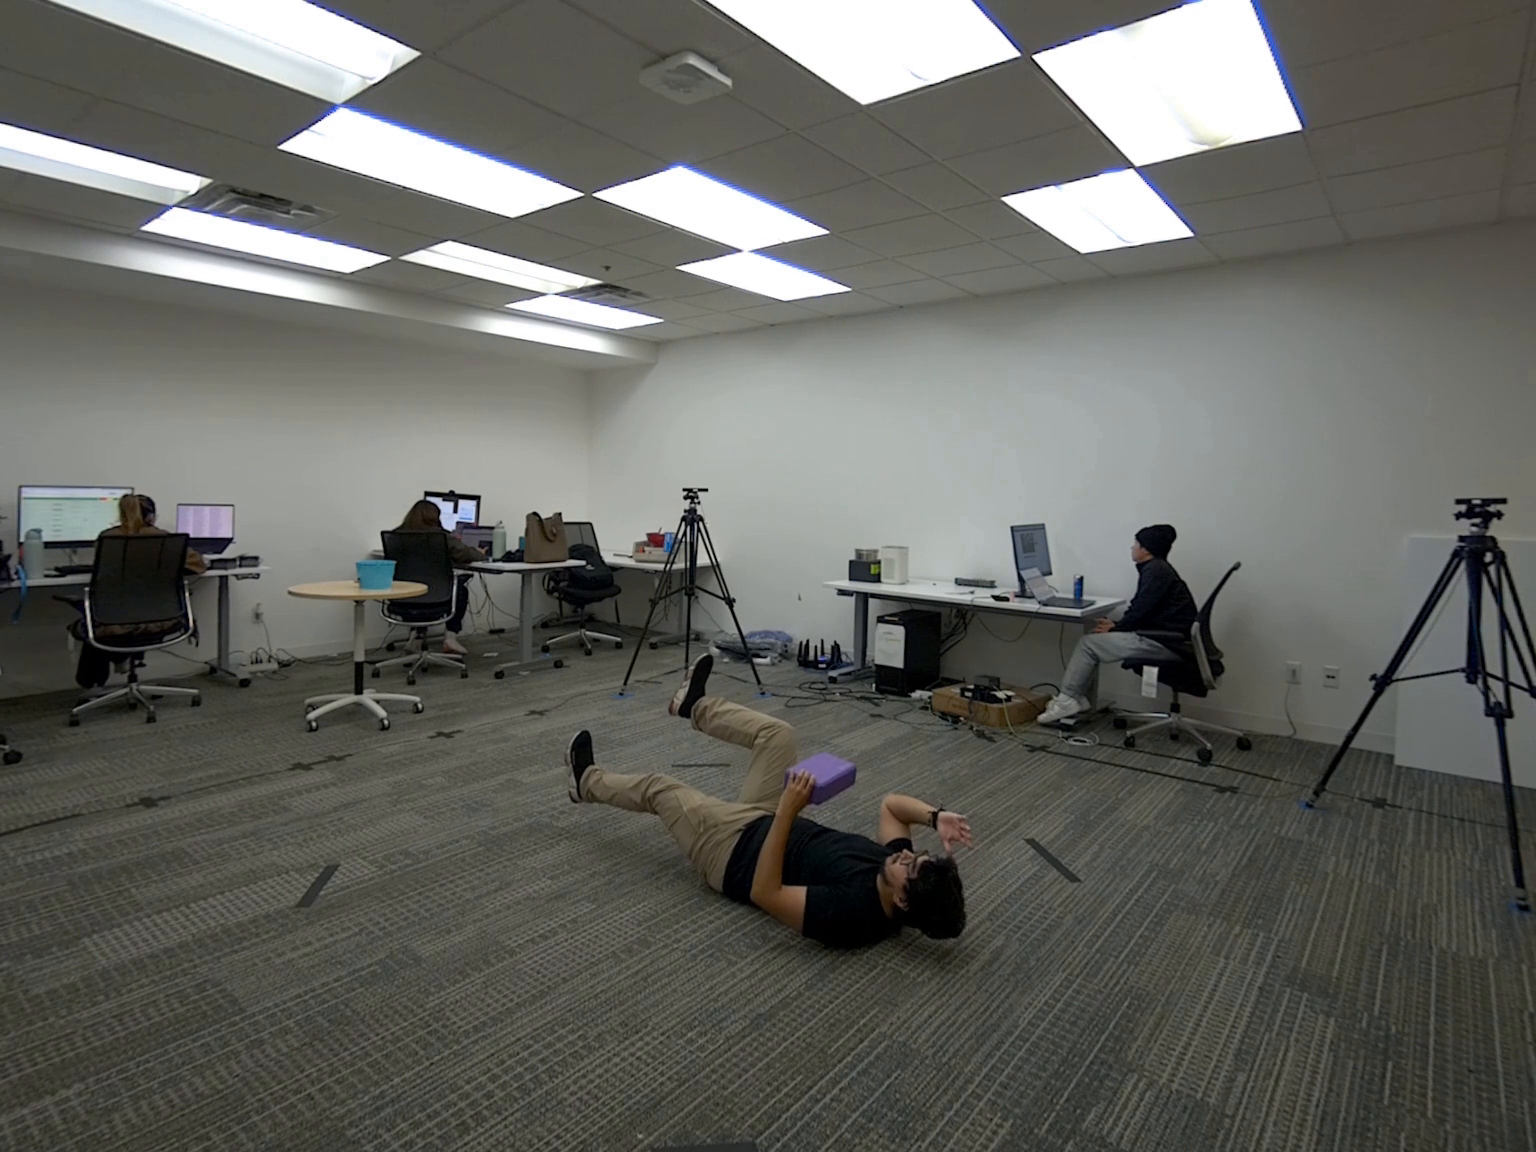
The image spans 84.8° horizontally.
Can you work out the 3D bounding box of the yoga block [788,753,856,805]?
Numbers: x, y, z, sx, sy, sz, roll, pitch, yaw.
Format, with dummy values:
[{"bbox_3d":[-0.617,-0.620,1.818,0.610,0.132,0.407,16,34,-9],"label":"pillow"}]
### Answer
[{"bbox_3d":[0.168,0.664,2.822,0.154,0.075,0.224,12,15,34],"label":"yoga block"}]
